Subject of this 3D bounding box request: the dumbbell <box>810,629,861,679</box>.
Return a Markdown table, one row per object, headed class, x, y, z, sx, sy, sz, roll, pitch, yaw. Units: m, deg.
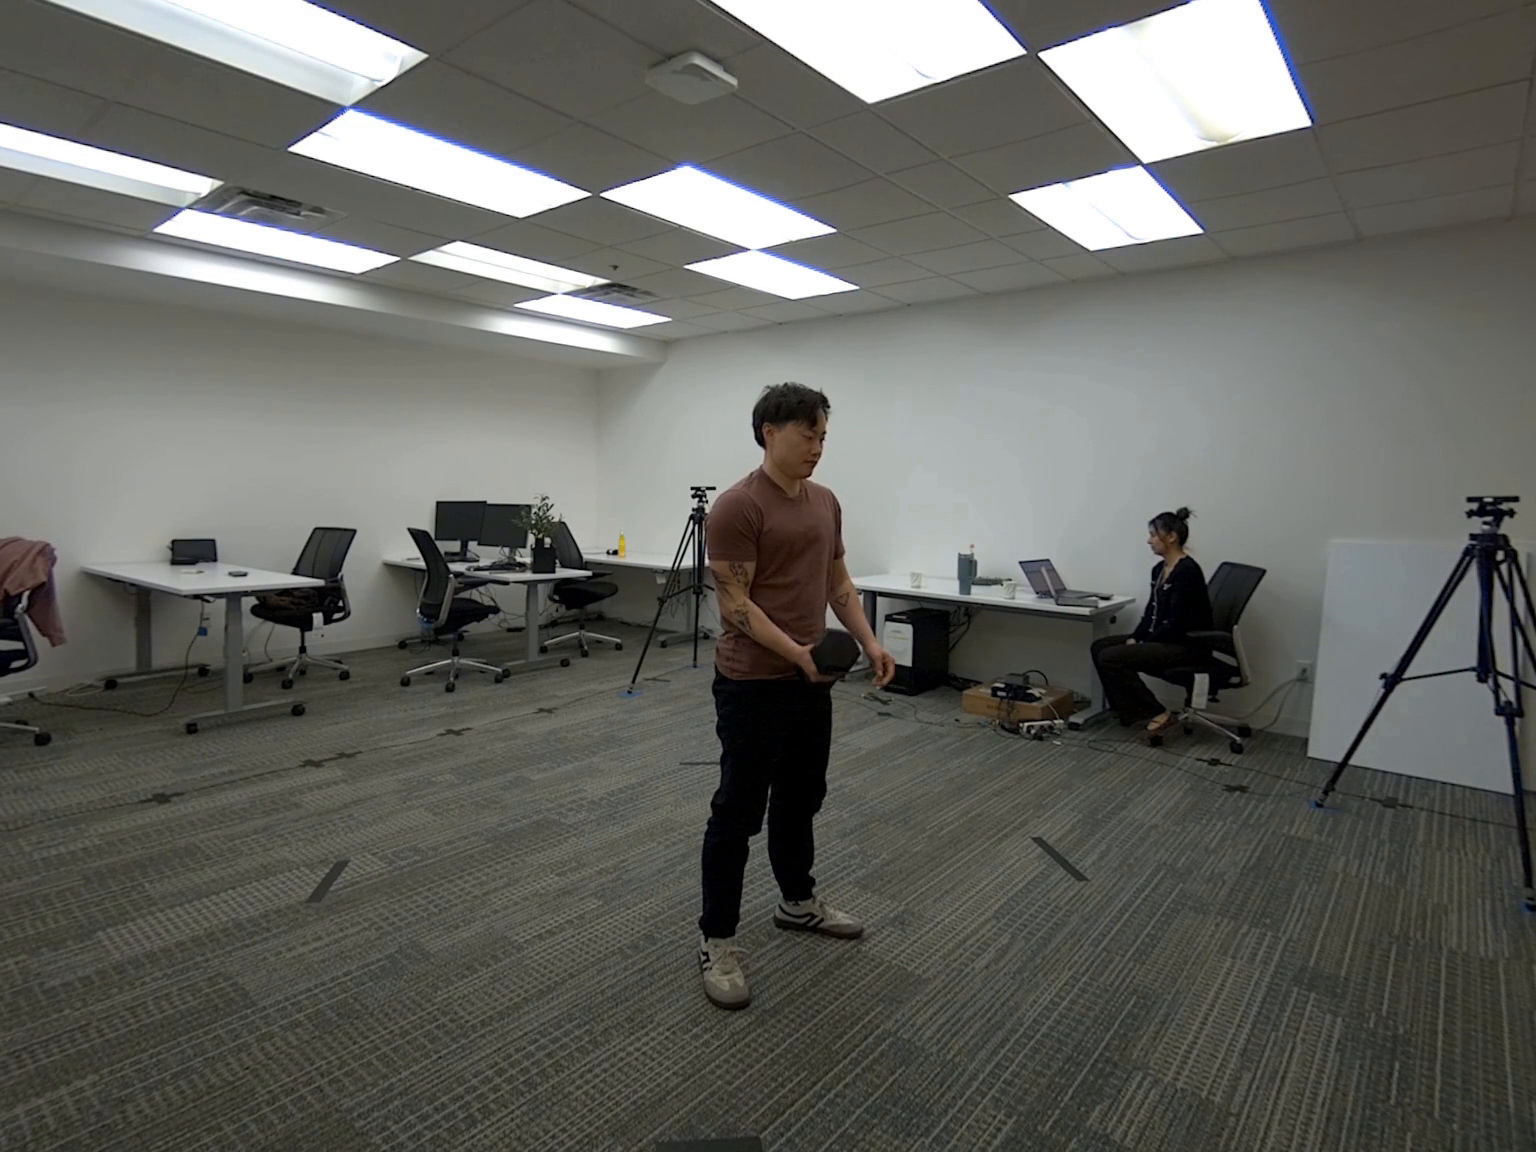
| class | x | y | z | sx | sy | sz | roll | pitch | yaw |
| --- | --- | --- | --- | --- | --- | --- | --- | --- | --- |
| dumbbell | 0.155 | 0.205 | 2.234 | 0.110 | 0.123 | 0.290 | 37 | -18 | 4 |
